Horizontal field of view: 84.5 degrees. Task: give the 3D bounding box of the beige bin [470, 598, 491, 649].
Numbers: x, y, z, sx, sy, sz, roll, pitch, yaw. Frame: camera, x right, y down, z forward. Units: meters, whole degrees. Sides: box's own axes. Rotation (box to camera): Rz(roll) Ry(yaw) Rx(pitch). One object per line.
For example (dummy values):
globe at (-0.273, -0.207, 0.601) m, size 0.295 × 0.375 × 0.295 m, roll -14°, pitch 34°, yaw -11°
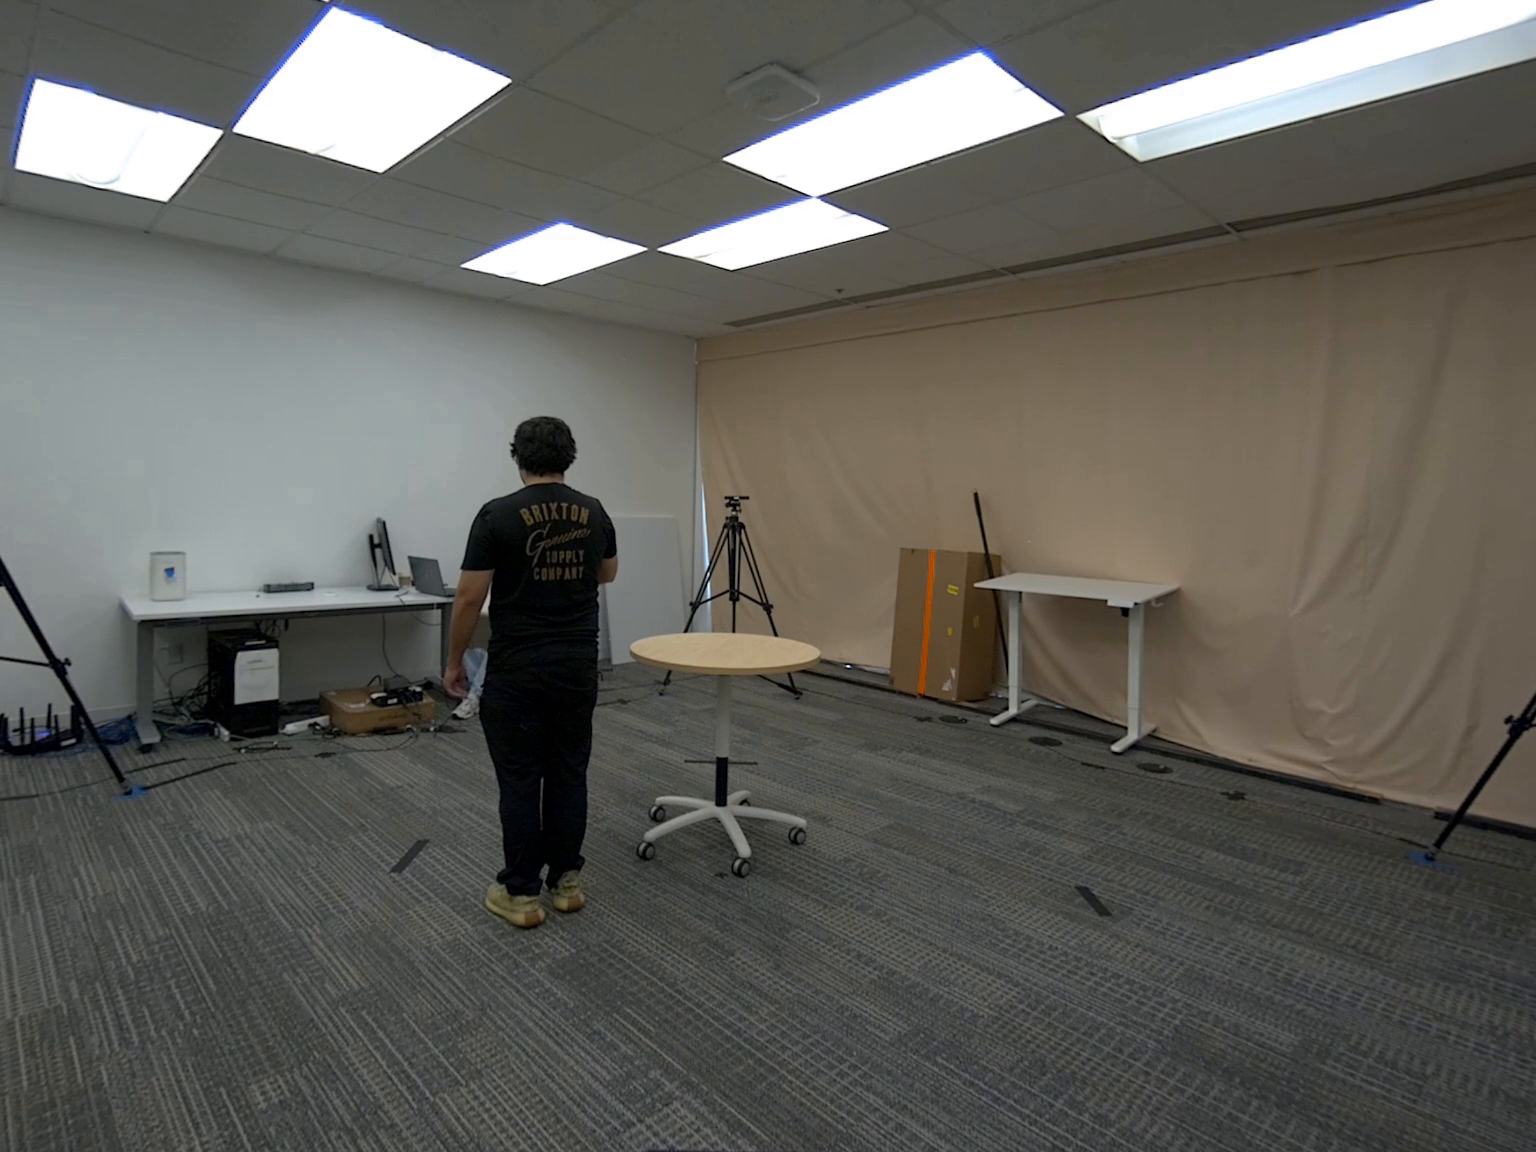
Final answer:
beige bin at (-0.978, 0.178, 3.282) m, size 0.422 × 0.192 × 0.371 m, roll 7°, pitch -29°, yaw -2°
